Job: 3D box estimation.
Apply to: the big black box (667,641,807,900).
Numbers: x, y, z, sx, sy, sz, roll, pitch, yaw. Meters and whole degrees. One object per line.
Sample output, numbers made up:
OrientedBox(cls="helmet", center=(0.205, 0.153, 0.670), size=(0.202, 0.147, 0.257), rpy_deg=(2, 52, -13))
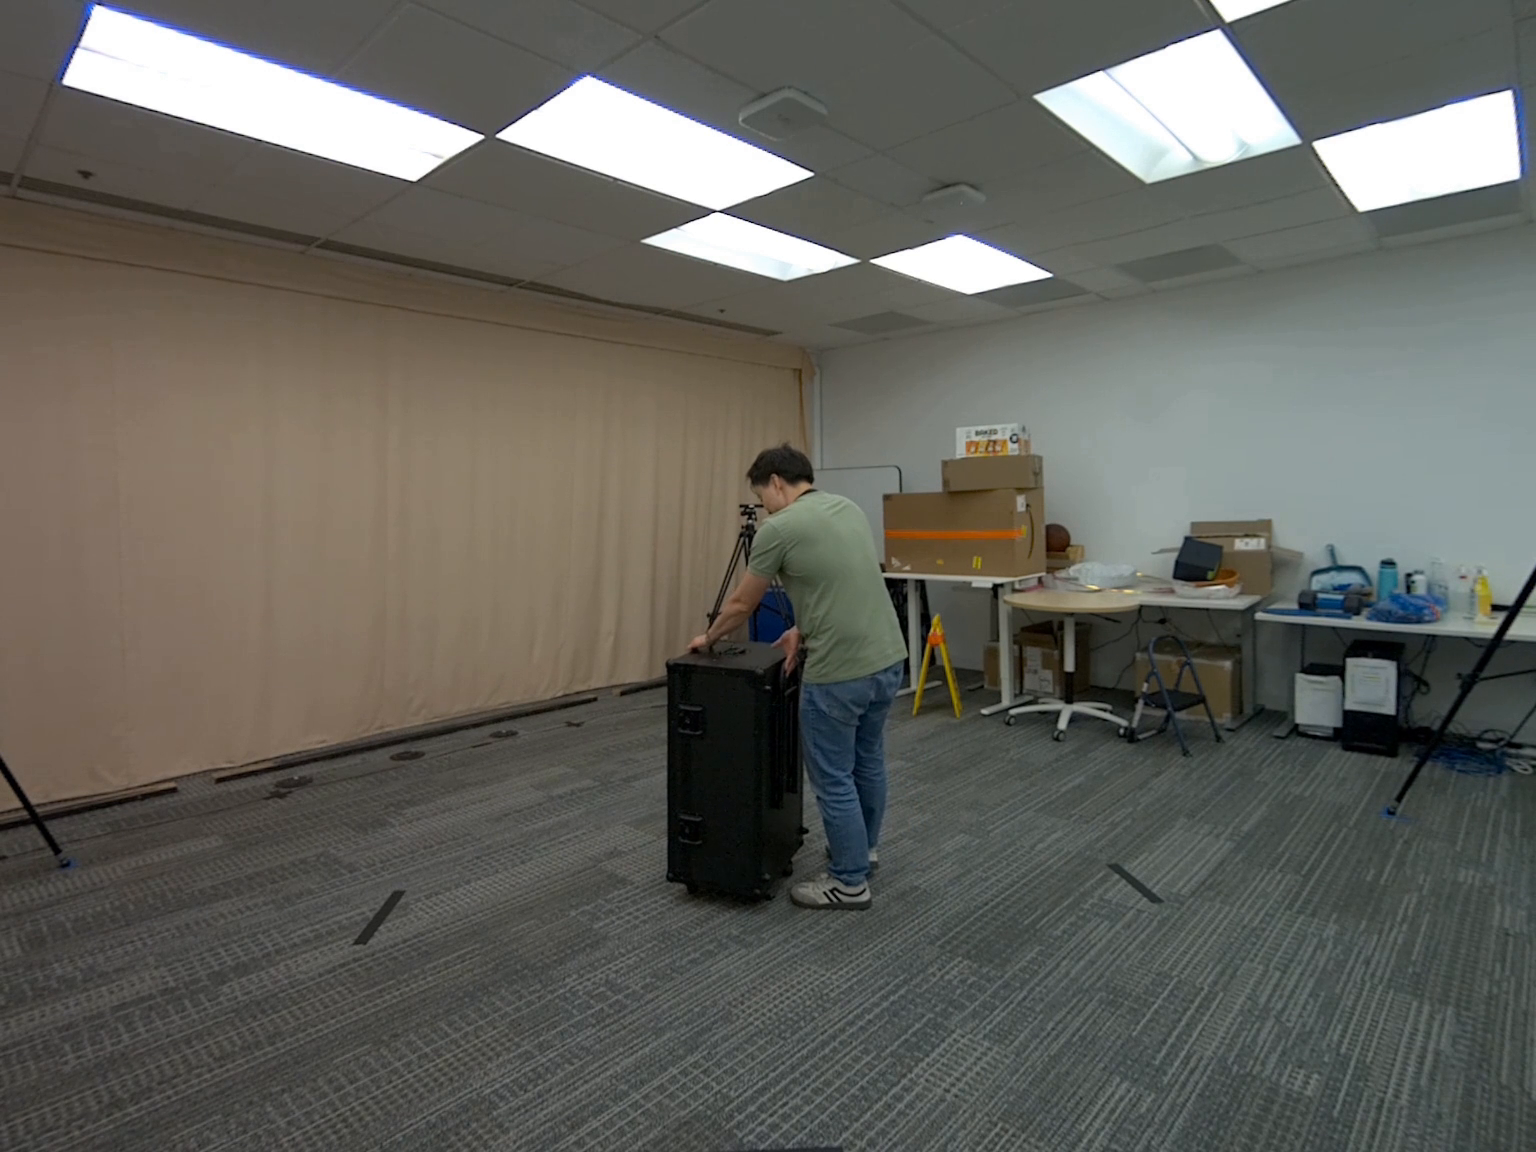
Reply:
OrientedBox(cls="big black box", center=(-0.095, 0.700, 3.087), size=(0.405, 0.859, 0.511), rpy_deg=(3, 5, 21))
